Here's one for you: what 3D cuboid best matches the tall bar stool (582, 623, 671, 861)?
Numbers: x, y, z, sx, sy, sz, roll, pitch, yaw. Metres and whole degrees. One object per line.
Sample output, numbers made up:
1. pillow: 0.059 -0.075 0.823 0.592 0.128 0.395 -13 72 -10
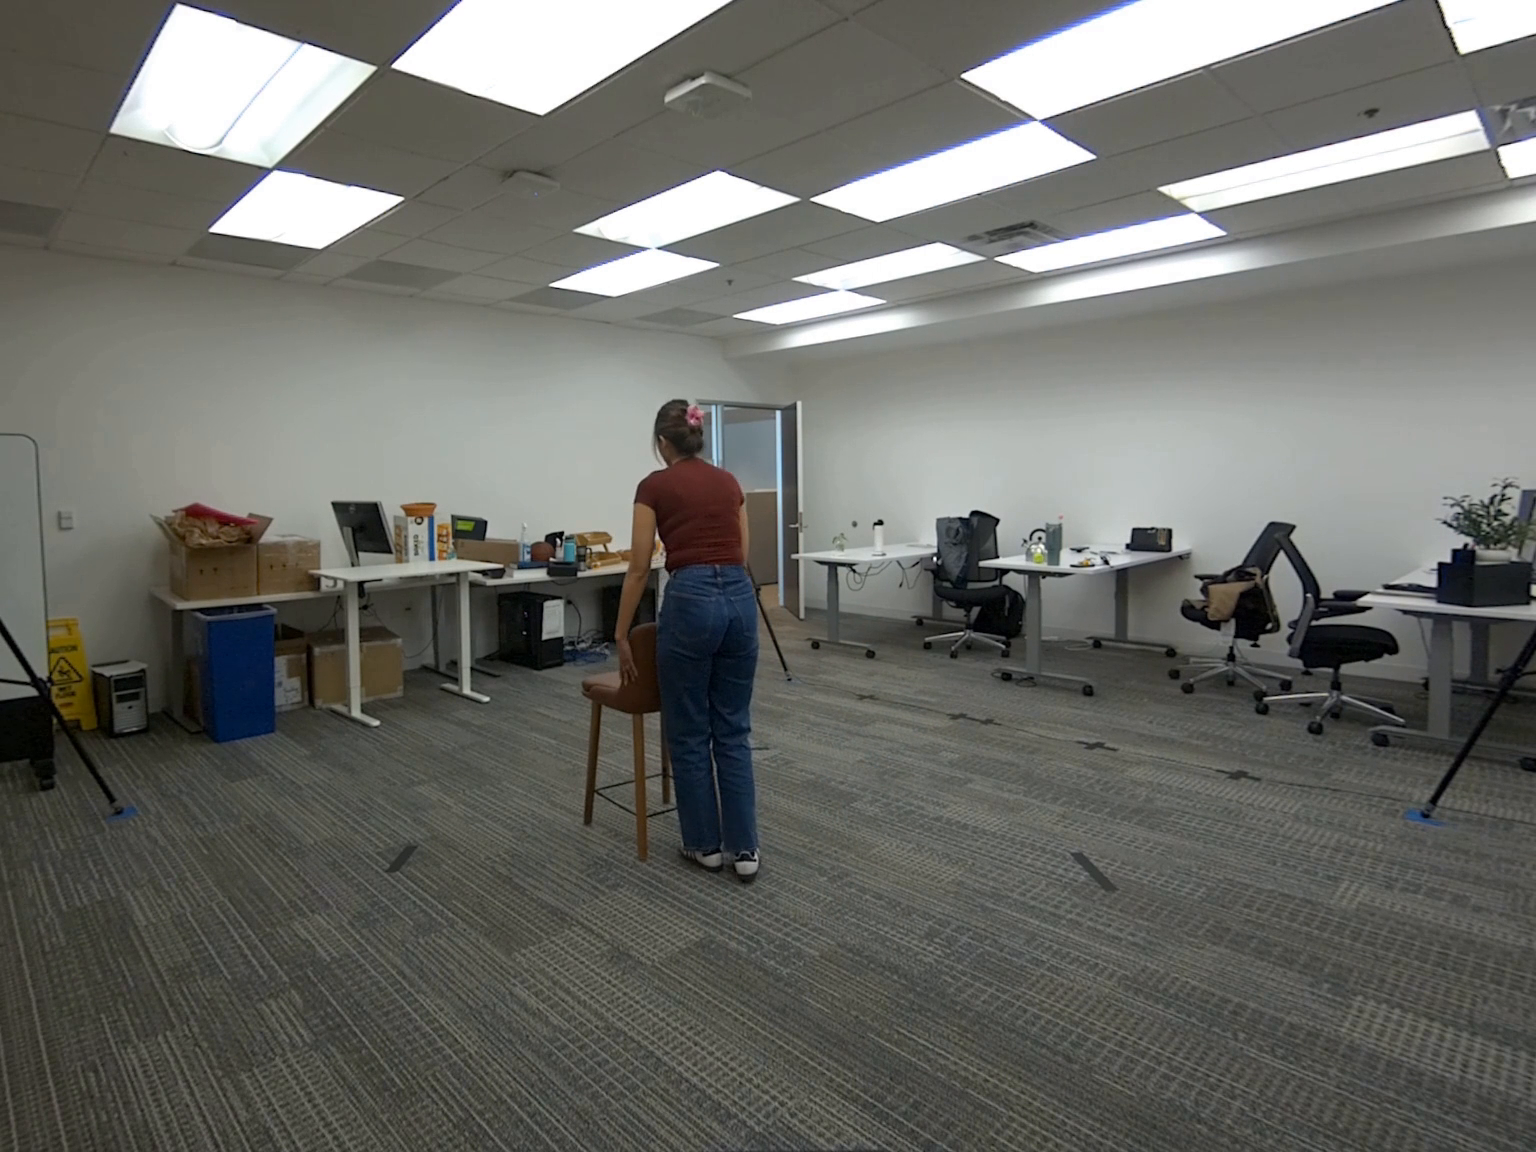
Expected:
1. tall bar stool: -0.462 0.580 3.402 0.445 0.885 0.482 -4 7 -36
